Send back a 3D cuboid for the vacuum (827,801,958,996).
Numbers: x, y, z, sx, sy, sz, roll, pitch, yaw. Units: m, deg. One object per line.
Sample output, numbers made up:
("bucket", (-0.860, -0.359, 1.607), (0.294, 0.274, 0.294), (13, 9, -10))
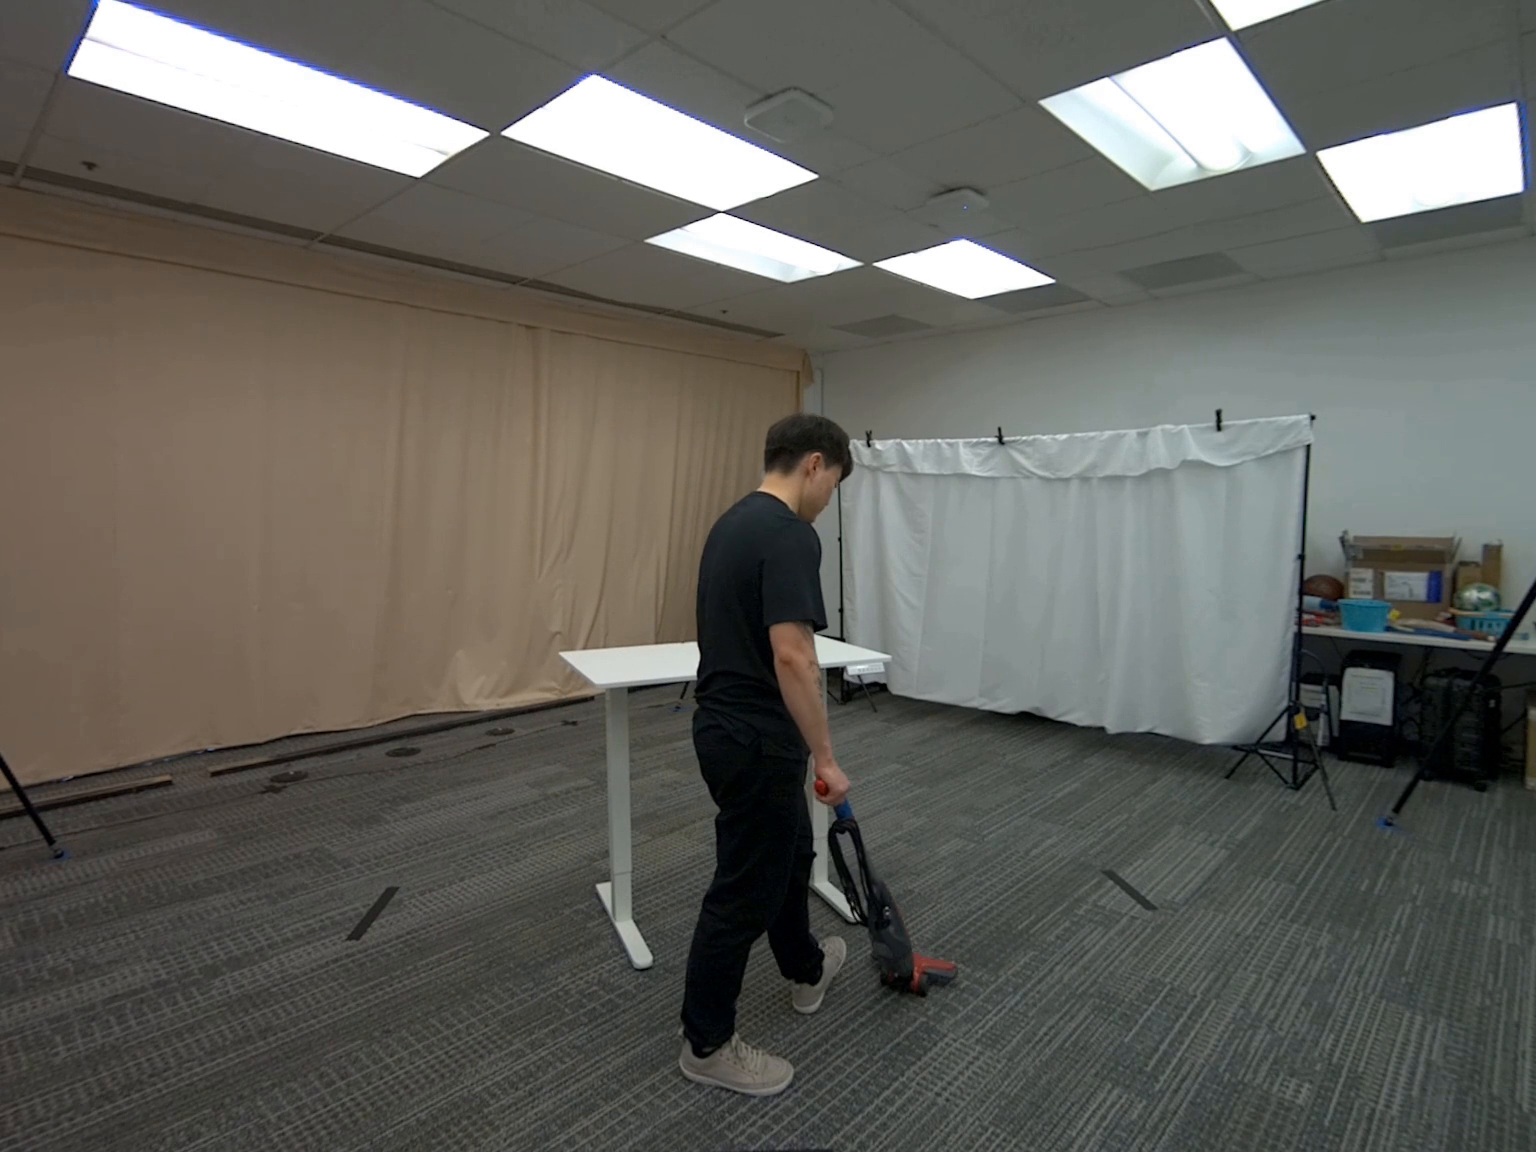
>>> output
("vacuum", (0.275, 0.819, 2.136), (0.259, 1.018, 0.145), (0, 47, 24))
